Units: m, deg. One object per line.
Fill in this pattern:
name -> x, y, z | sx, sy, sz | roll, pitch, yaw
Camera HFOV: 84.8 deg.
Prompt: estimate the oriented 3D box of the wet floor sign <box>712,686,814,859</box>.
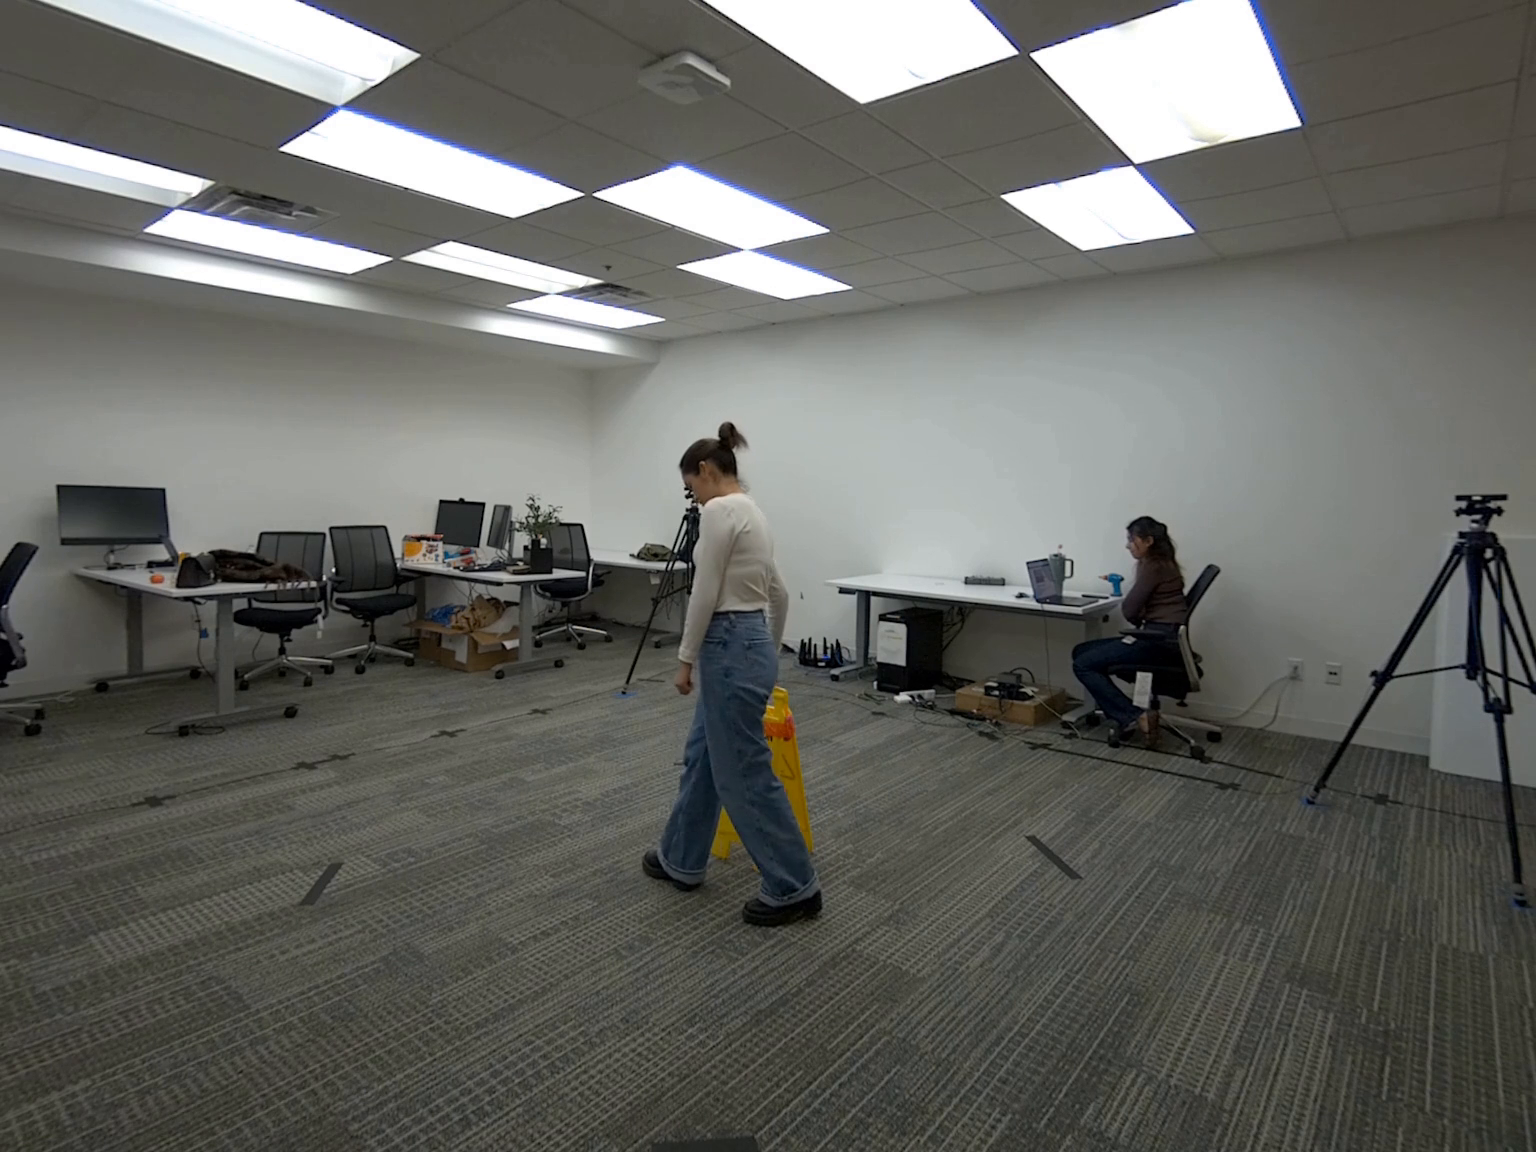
wet floor sign -> -0.020, 0.729, 3.235 | 0.292, 0.645, 0.281 | 4, 3, 40
